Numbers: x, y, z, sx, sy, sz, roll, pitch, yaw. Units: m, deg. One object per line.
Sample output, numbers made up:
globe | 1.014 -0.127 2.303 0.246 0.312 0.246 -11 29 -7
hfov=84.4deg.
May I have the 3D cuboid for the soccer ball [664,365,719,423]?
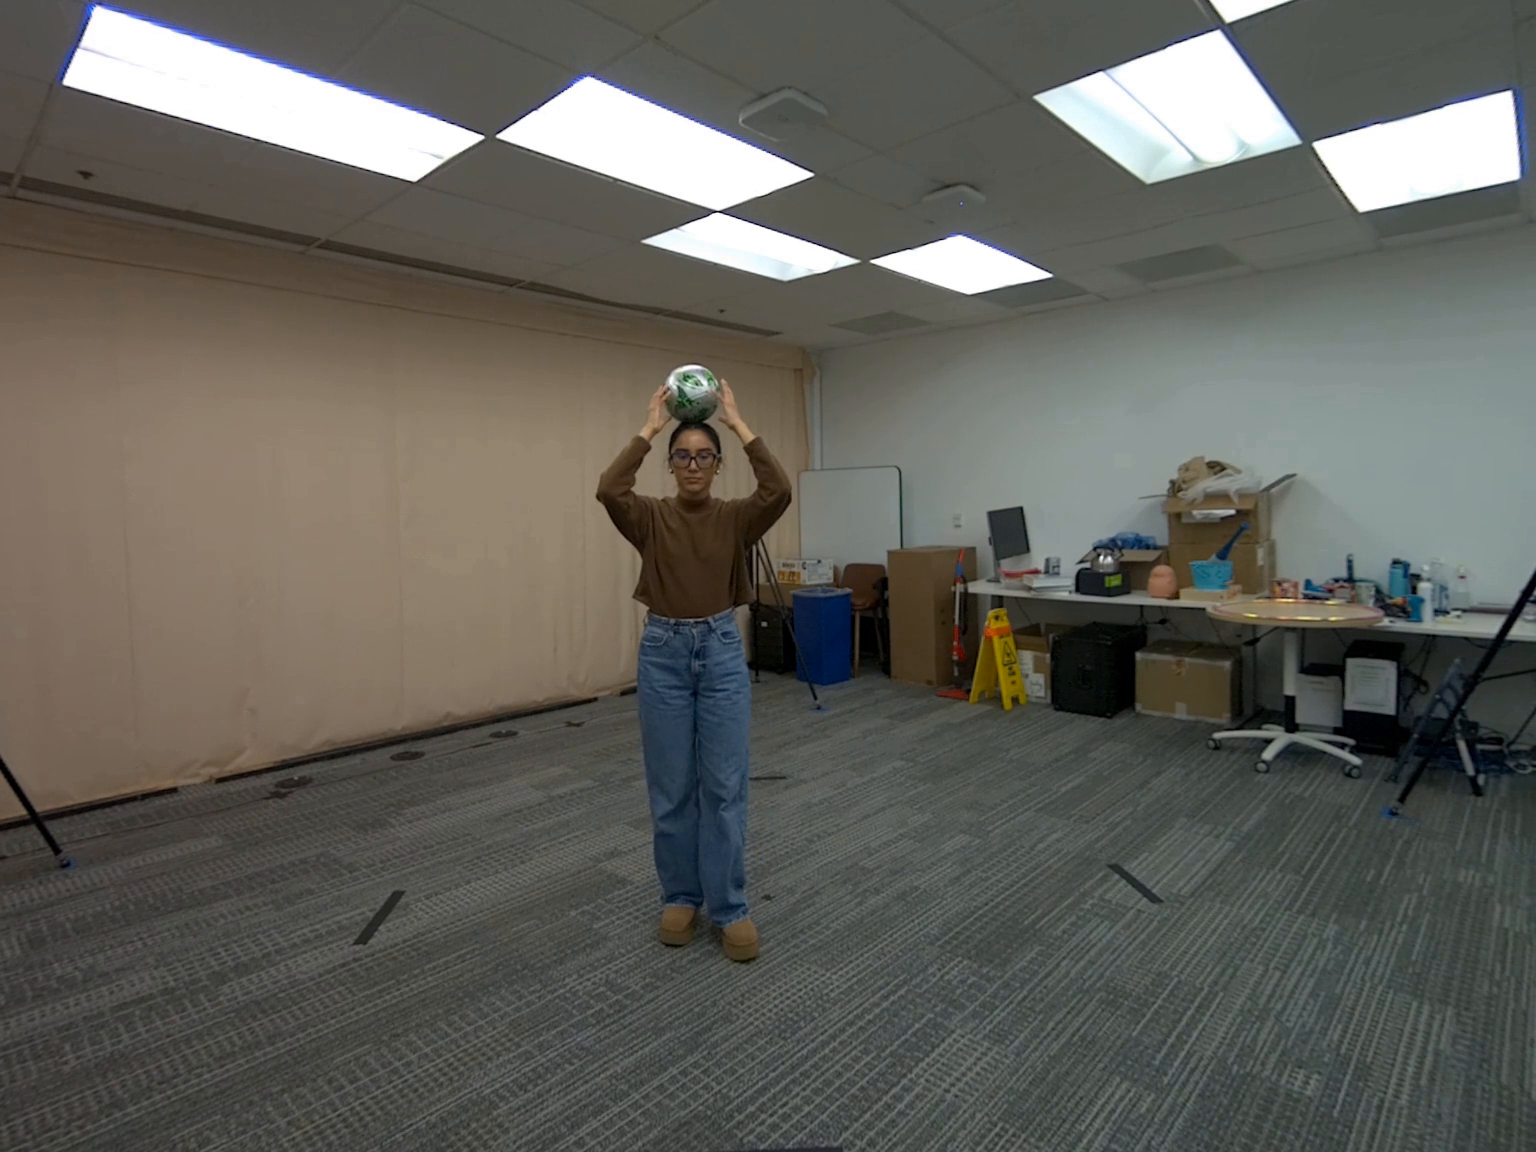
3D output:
soccer ball | -0.234 -0.575 2.672 0.187 0.187 0.188 -1 4 -2
